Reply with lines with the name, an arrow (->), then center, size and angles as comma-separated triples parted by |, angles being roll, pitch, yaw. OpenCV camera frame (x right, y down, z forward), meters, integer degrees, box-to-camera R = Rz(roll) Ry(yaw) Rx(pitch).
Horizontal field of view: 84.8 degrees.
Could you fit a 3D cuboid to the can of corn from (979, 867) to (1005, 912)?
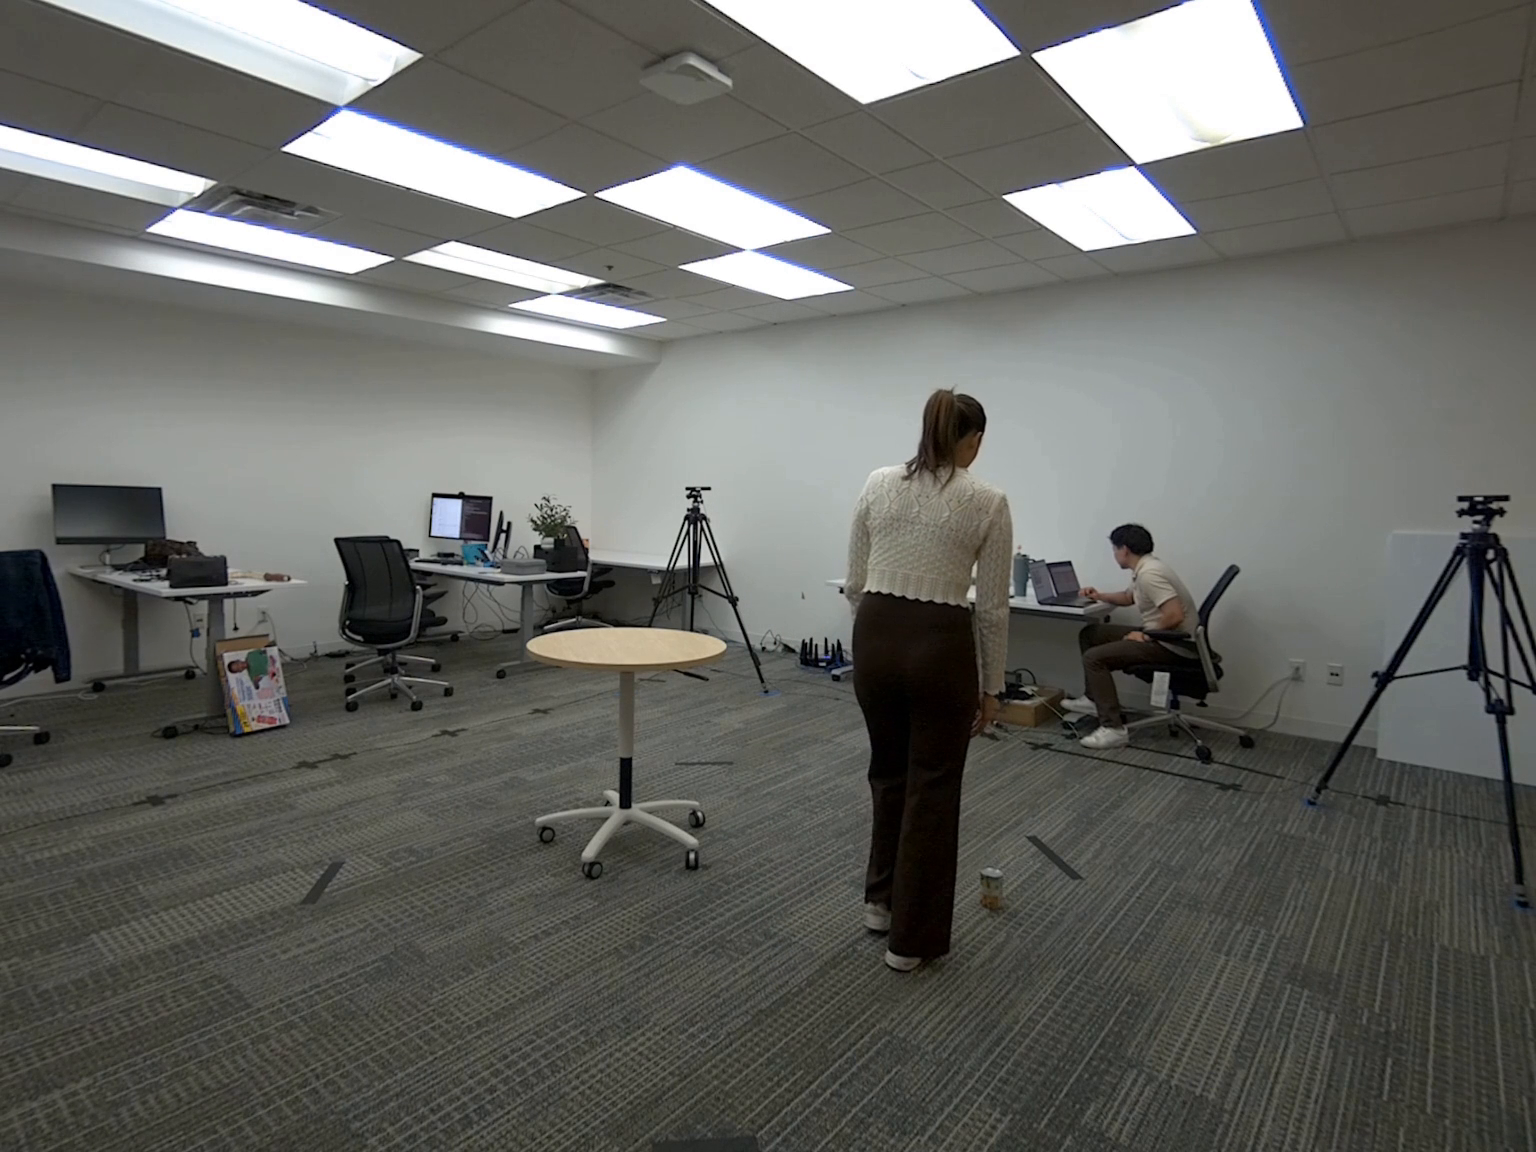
can of corn -> 0.752, 1.053, 2.881 | 0.074, 0.111, 0.074 | 5, 3, -2
